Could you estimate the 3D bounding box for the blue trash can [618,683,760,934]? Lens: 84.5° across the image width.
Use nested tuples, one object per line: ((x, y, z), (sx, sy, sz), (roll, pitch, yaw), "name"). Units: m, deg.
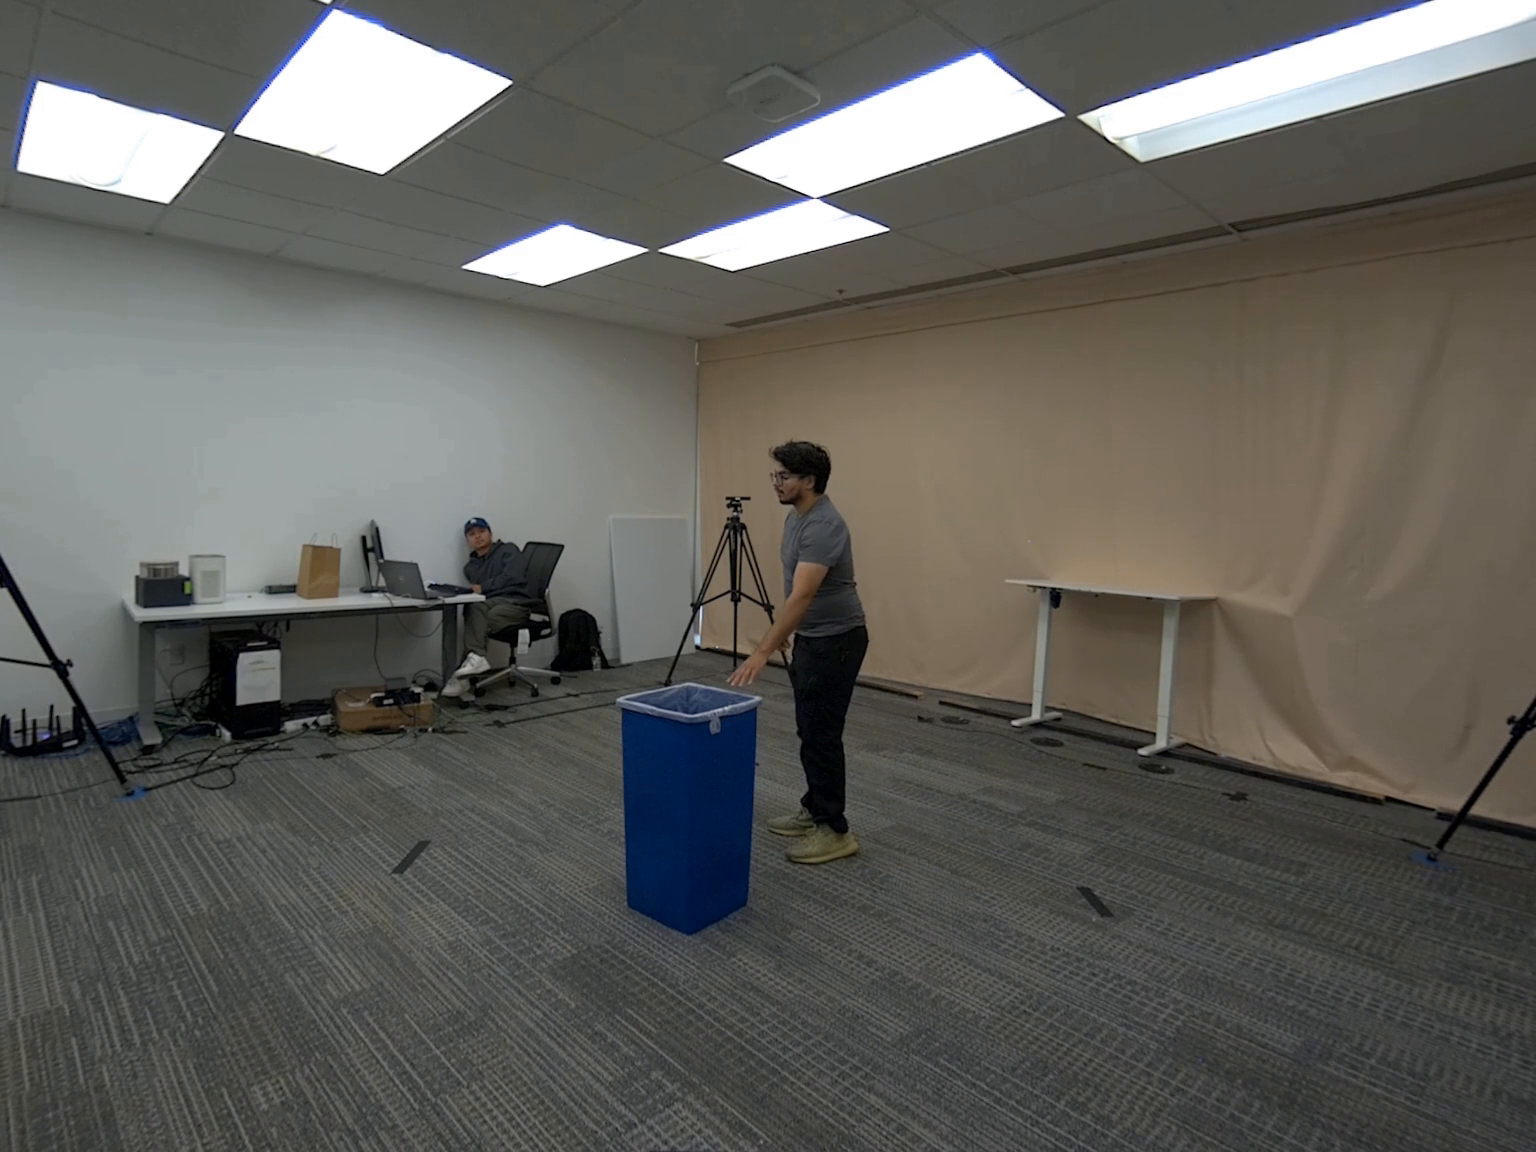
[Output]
((-0.282, 0.768, 2.861), (0.383, 0.712, 0.369), (4, 4, 40), "blue trash can")
